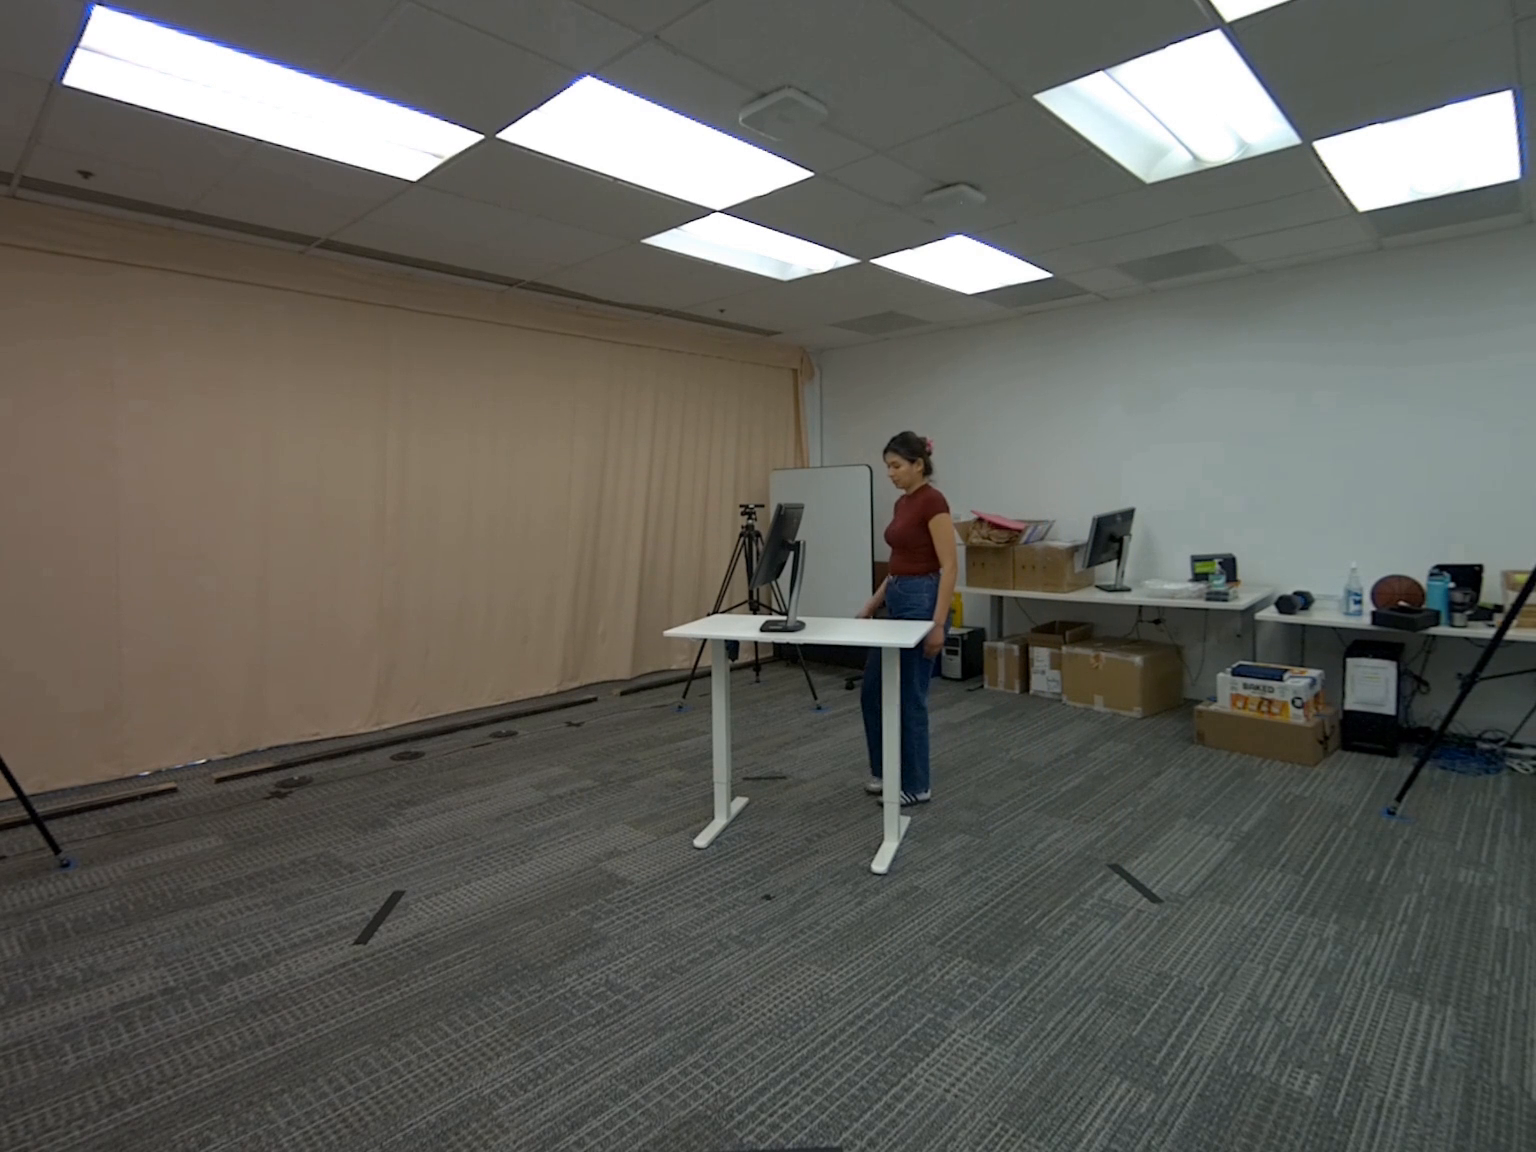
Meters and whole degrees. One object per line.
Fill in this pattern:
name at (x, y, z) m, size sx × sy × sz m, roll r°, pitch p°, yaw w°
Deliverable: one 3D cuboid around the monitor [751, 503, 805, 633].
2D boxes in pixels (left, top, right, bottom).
monitor at (0.075, -0.039, 3.481) m, size 0.189 × 0.521 × 0.533 m, roll 3°, pitch 4°, yaw 10°
